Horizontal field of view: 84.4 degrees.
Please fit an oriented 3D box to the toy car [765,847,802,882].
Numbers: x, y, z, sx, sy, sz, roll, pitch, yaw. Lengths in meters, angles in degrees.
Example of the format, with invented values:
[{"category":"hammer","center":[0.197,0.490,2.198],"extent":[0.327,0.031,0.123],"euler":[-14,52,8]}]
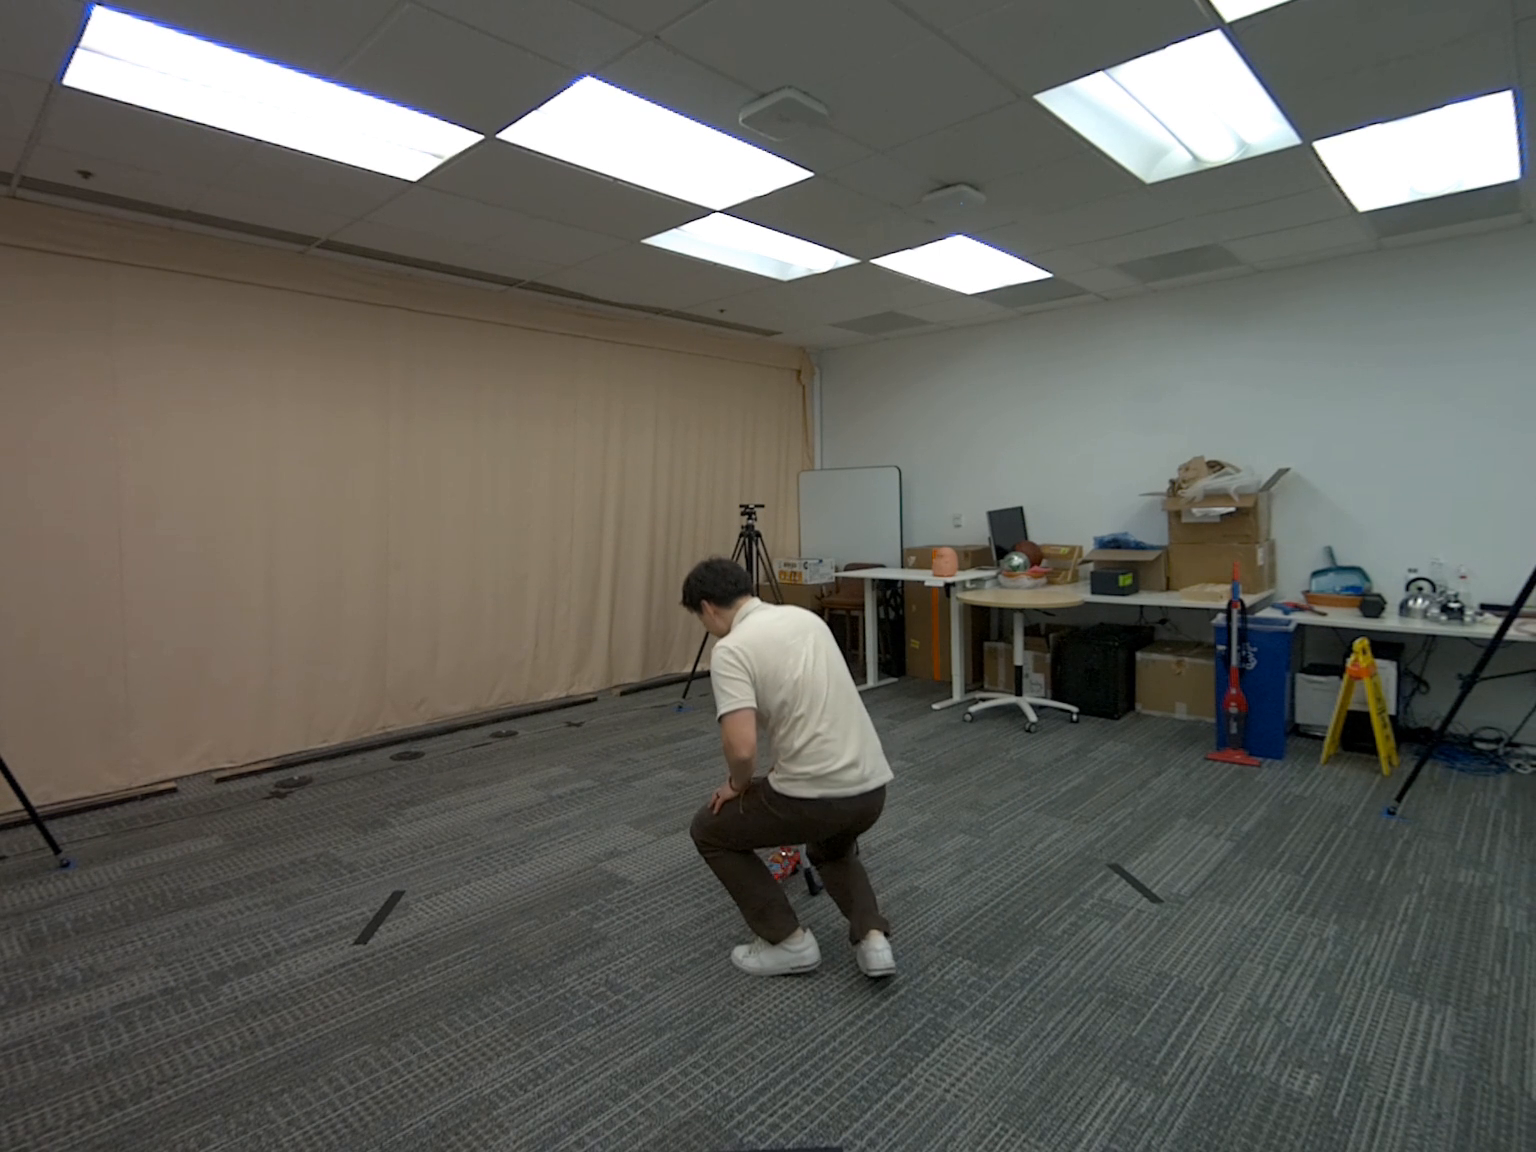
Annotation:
[{"category":"toy car","center":[0.042,1.089,3.153],"extent":[0.134,0.082,0.250],"euler":[0,16,30]}]
